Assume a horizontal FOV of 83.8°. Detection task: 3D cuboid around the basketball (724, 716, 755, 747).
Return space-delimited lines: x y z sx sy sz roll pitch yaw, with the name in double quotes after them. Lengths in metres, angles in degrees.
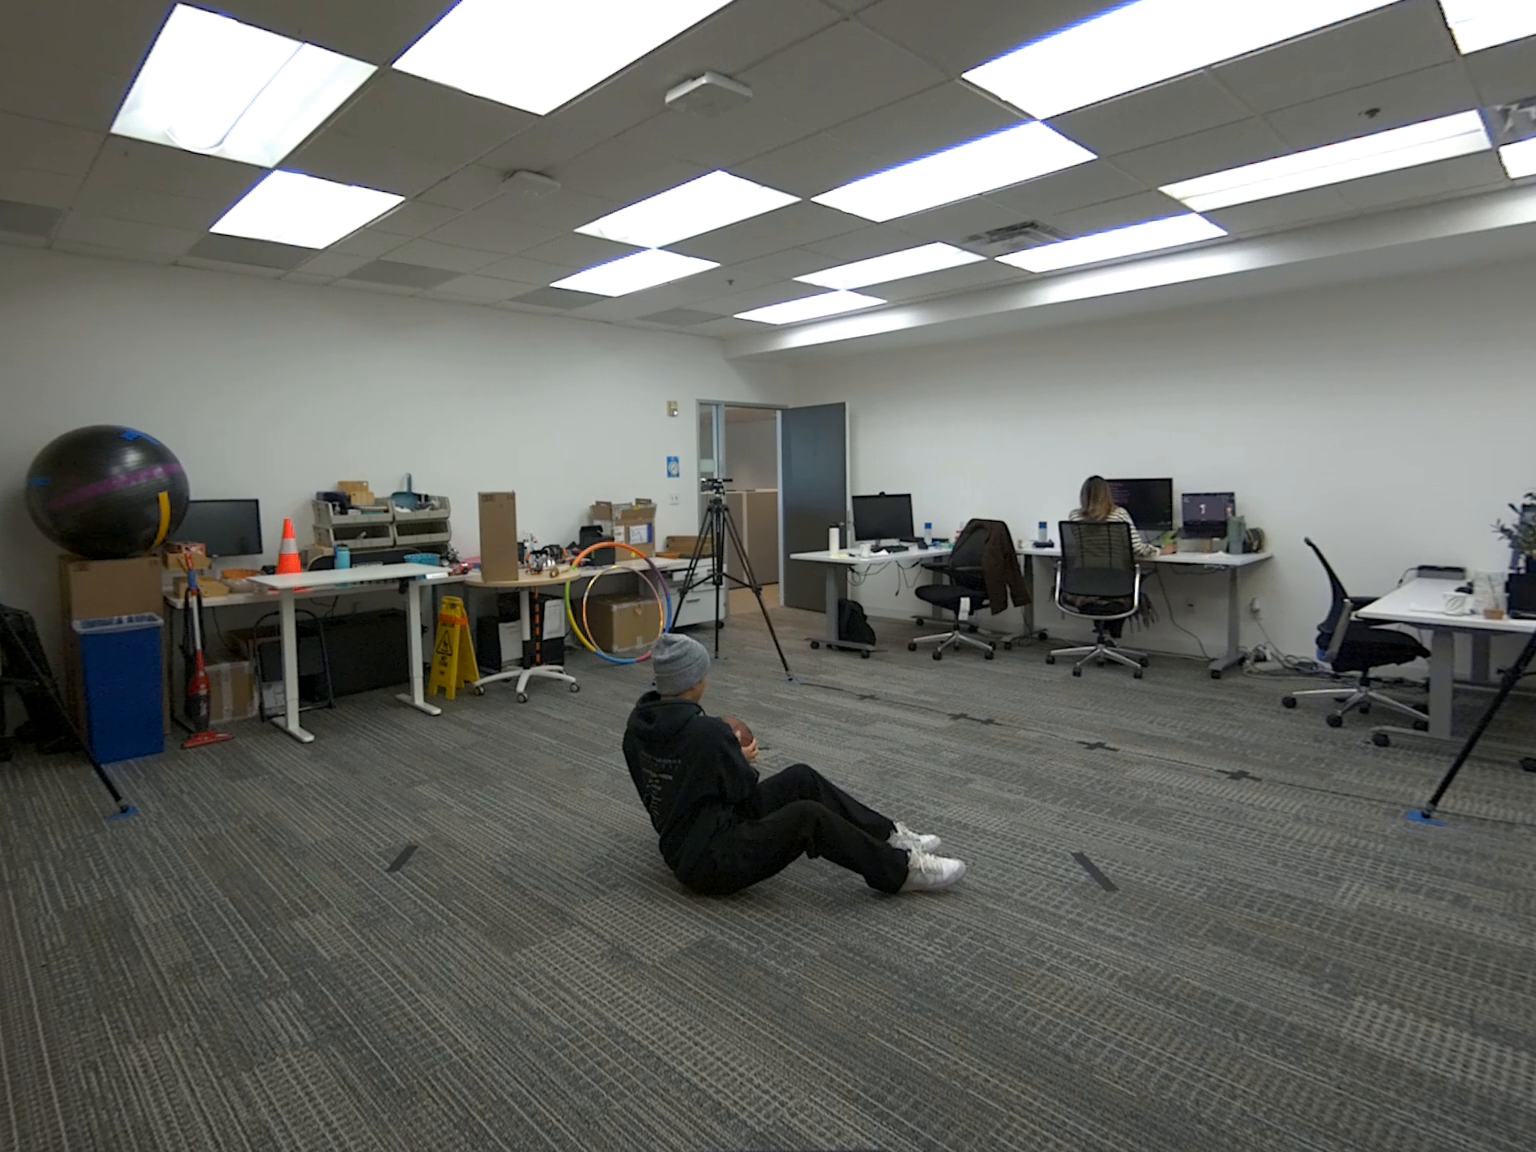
-0.151 0.677 3.387 0.236 0.235 0.237 -1 5 -2 "basketball"
